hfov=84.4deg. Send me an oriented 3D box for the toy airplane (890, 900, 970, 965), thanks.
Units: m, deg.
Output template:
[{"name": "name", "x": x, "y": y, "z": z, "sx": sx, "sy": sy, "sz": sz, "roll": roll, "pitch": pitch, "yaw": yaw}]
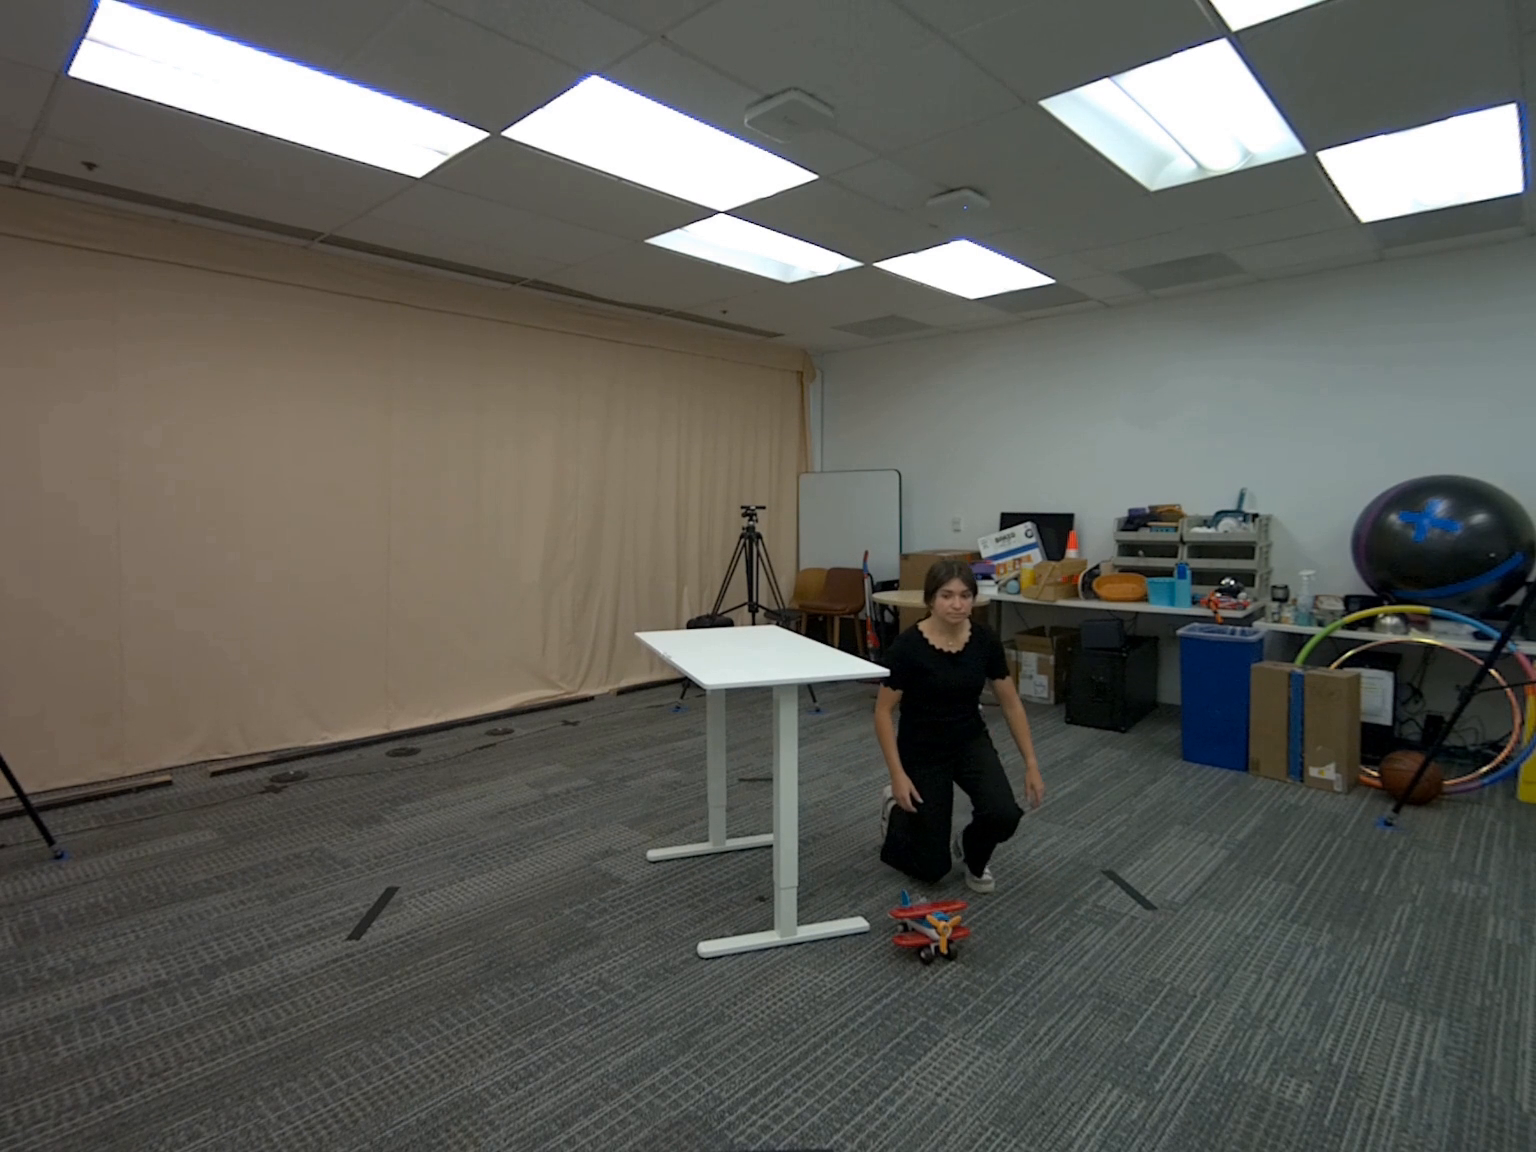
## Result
[{"name": "toy airplane", "x": 0.477, "y": 1.095, "z": 2.642, "sx": 0.268, "sy": 0.156, "sz": 0.243, "roll": 6, "pitch": 7, "yaw": 44}]
